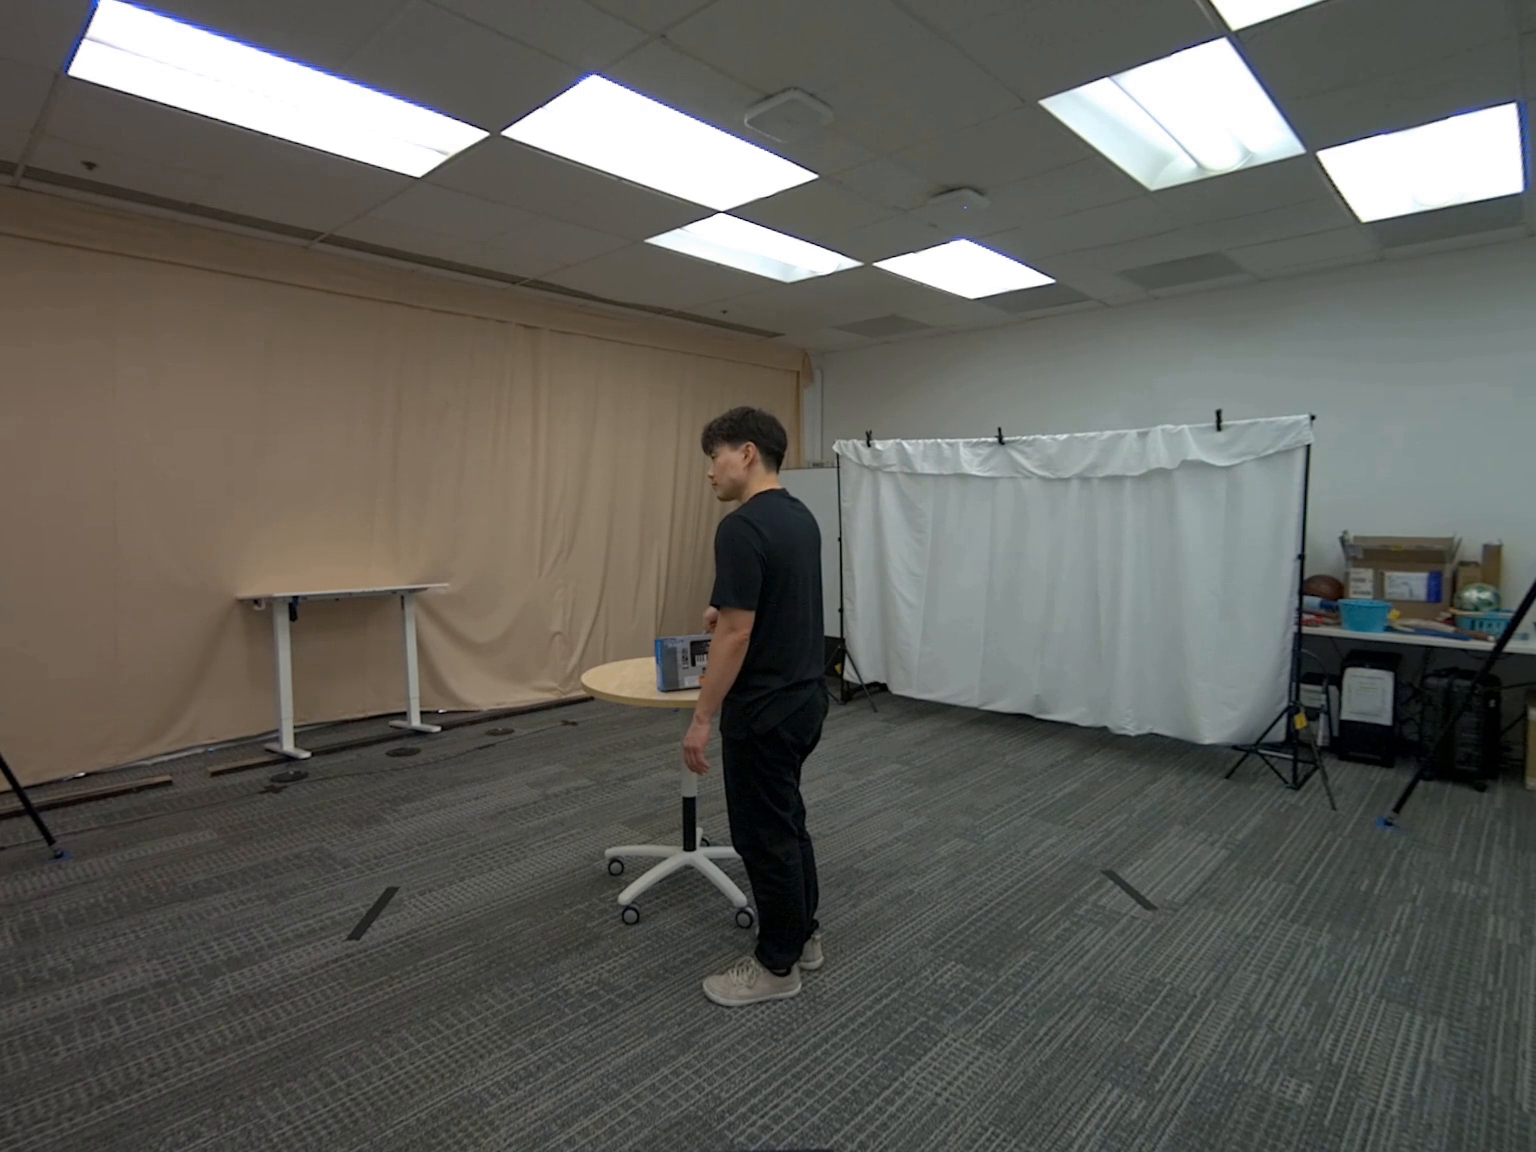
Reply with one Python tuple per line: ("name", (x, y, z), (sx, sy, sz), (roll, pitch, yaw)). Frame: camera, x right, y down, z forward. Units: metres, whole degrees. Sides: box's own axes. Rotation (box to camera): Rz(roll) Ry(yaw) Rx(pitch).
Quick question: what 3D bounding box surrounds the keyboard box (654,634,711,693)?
("keyboard box", (-0.167, 0.284, 2.869), (0.426, 0.176, 0.060), (-3, -1, -25))
